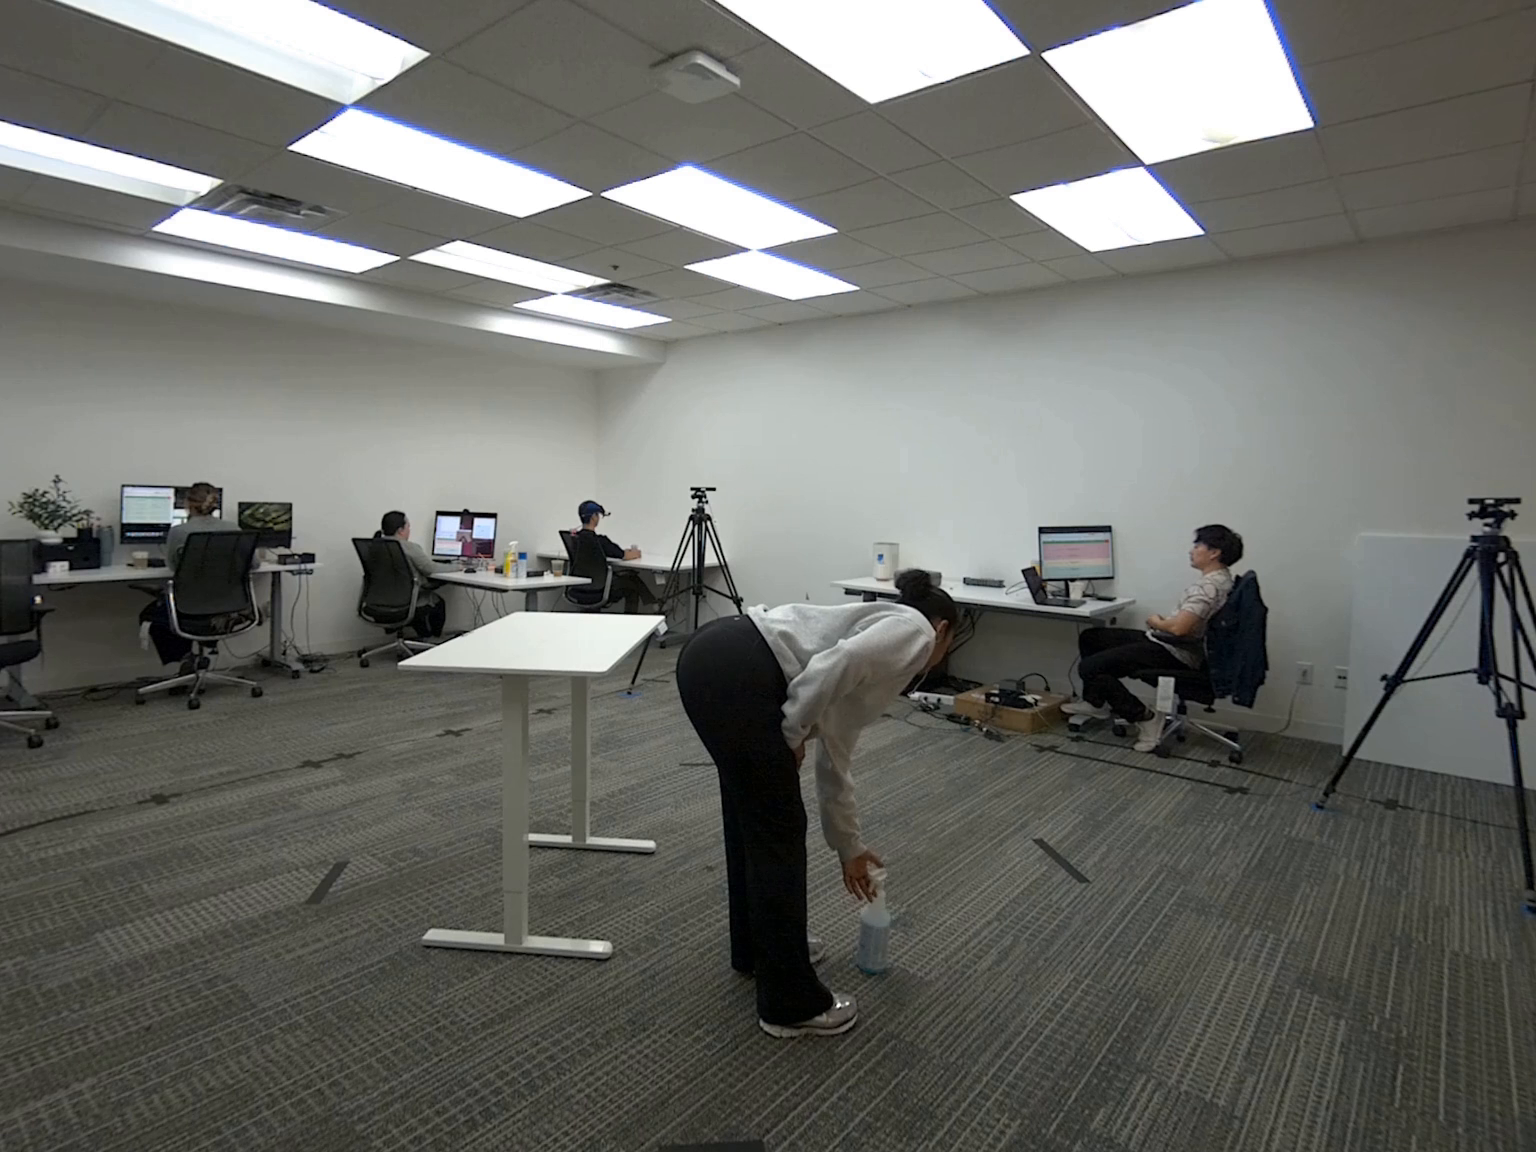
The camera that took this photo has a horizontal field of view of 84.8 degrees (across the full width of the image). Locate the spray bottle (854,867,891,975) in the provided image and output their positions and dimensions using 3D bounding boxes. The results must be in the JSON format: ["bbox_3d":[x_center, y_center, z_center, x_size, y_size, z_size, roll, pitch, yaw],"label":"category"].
[{"bbox_3d":[0.307,0.997,2.471,0.088,0.296,0.089,0,6,-25],"label":"spray bottle"}]
